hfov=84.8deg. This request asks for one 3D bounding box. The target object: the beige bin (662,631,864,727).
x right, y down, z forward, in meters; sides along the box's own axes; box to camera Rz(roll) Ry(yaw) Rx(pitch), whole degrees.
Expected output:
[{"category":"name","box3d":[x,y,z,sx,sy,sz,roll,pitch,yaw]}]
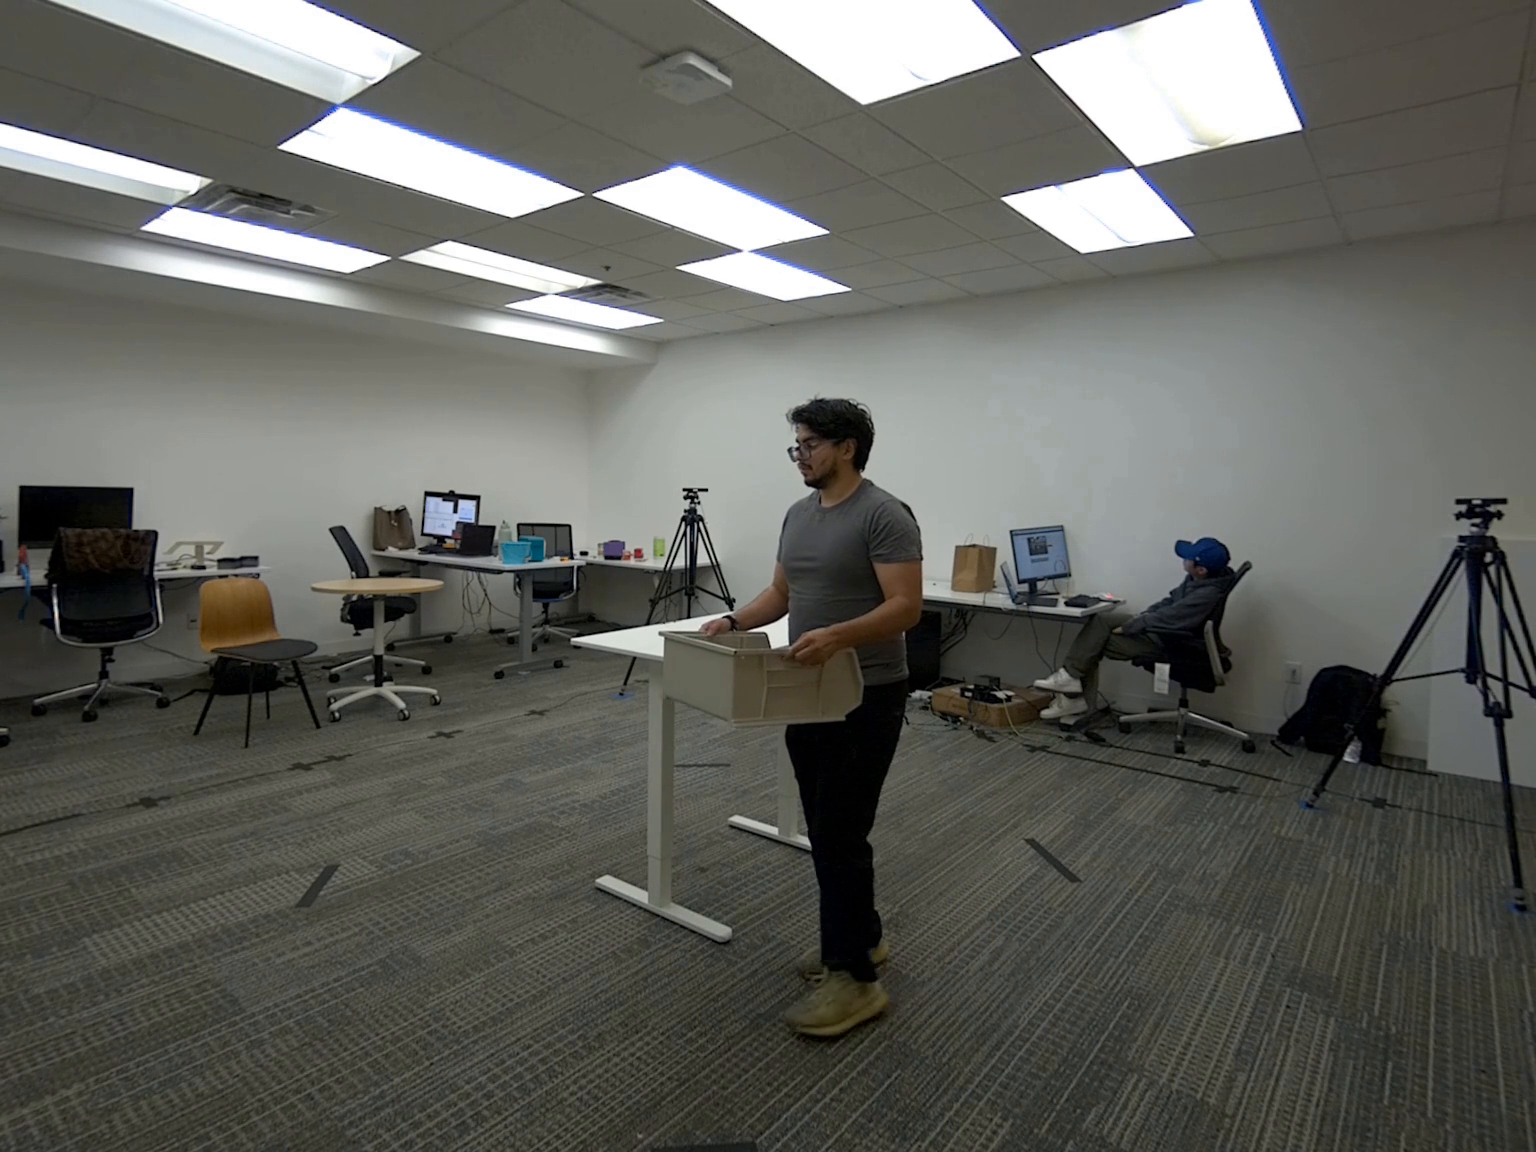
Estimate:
[{"category":"beige bin","box3d":[-0.041,0.251,2.190,0.367,0.189,0.434,3,2,-27]}]
